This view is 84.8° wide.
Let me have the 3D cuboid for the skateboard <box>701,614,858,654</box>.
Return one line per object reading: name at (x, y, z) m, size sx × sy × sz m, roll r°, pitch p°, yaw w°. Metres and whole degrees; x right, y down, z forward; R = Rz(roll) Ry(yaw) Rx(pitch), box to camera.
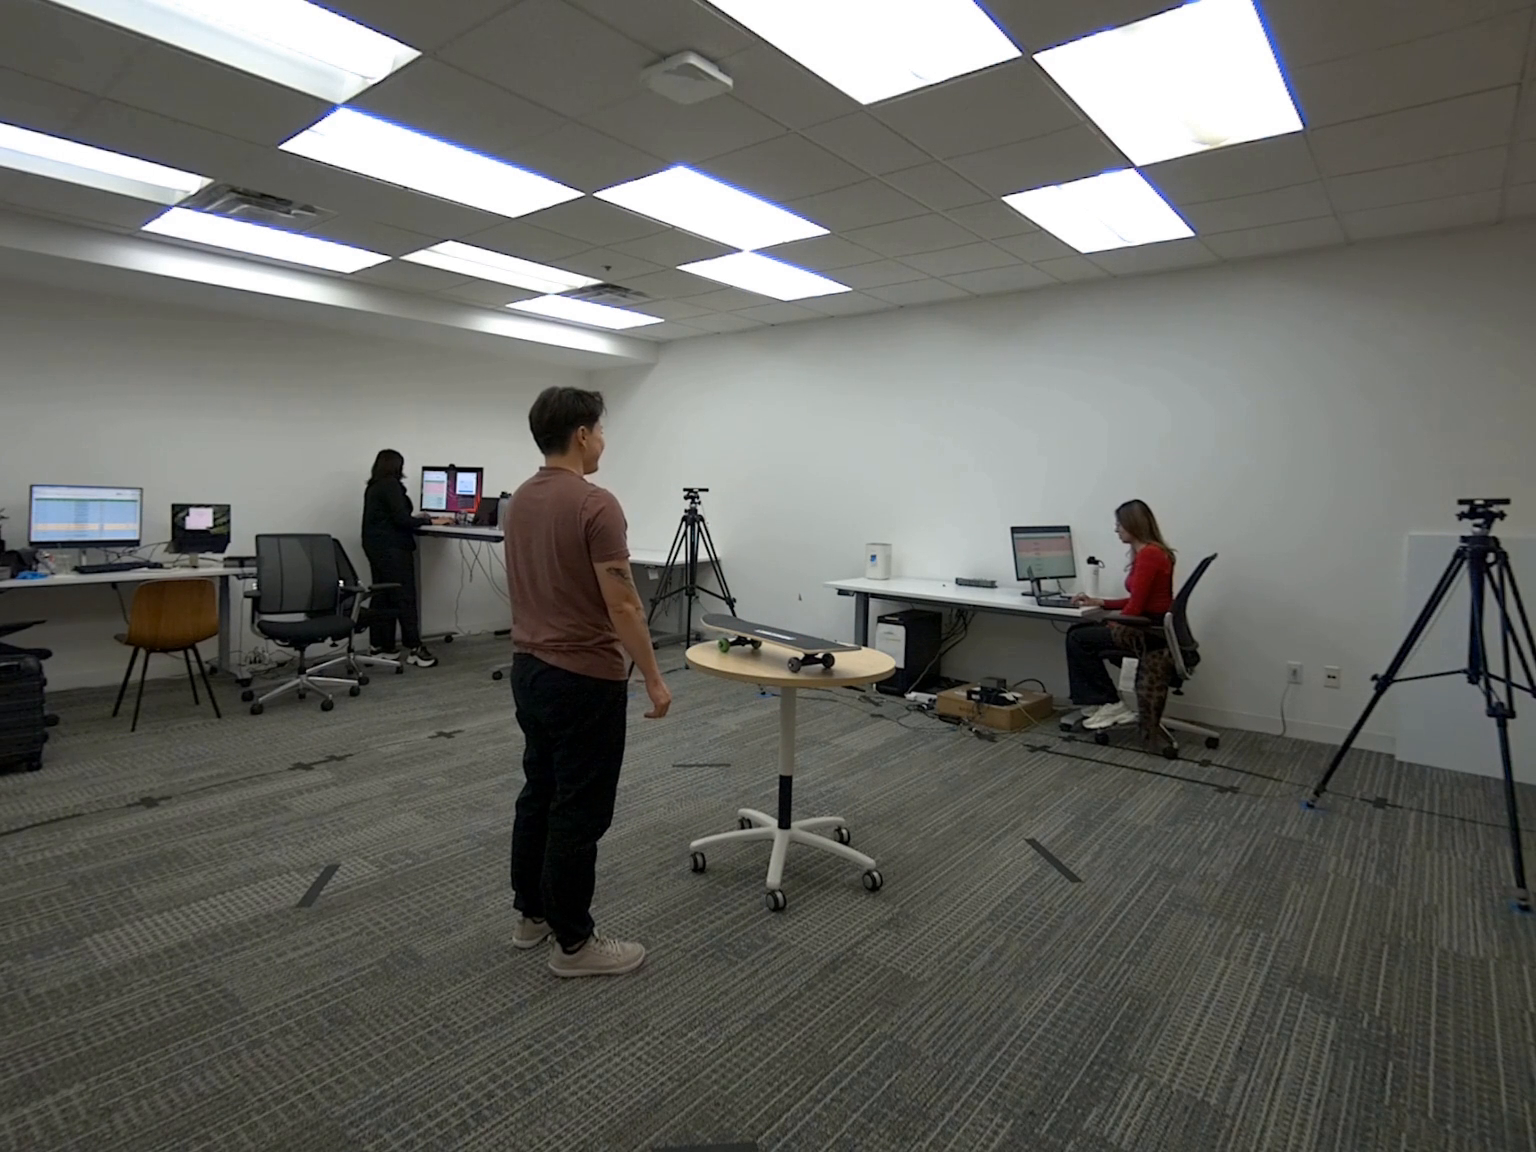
skateboard at (0.020, 0.247, 3.052) m, size 0.188 × 0.110 × 0.812 m, roll -2°, pitch 7°, yaw -37°
